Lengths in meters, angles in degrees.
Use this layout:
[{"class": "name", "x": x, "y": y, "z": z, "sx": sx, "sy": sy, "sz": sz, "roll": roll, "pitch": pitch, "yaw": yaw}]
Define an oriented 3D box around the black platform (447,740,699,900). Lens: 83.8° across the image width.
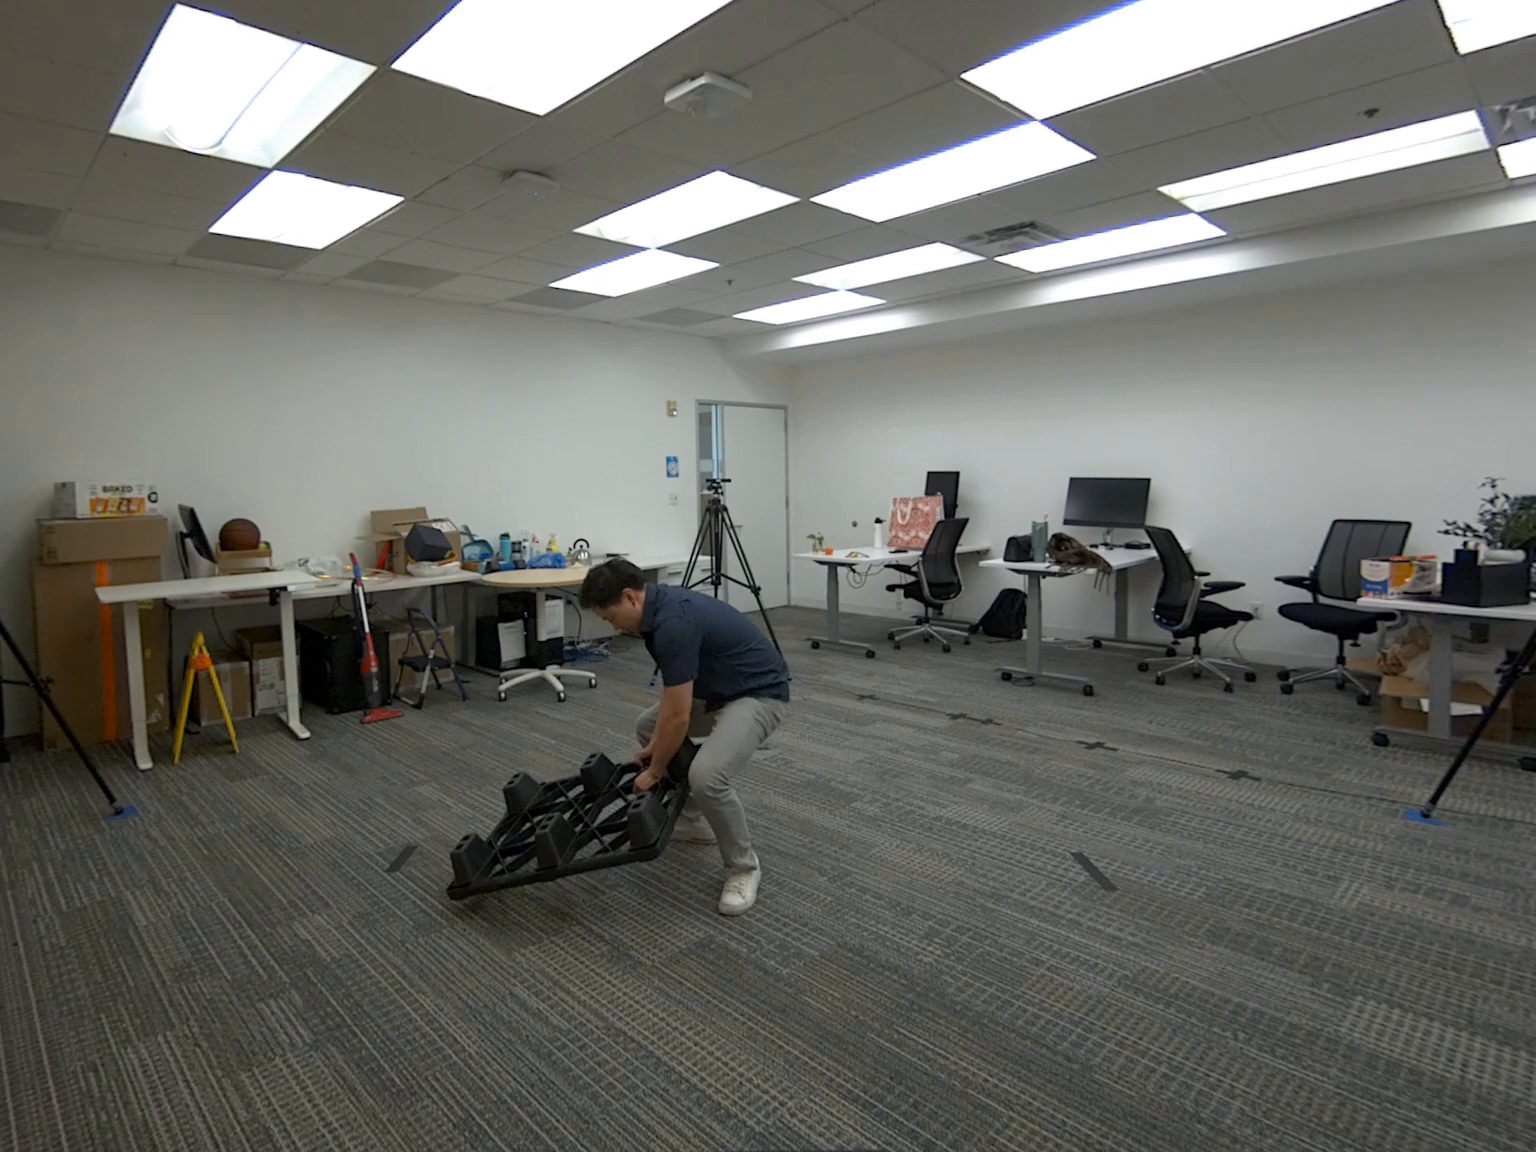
[{"class": "black platform", "x": -0.651, "y": 0.789, "z": 2.914, "sx": 0.815, "sy": 0.141, "sz": 0.607, "roll": -18, "pitch": 15, "yaw": 18}]
